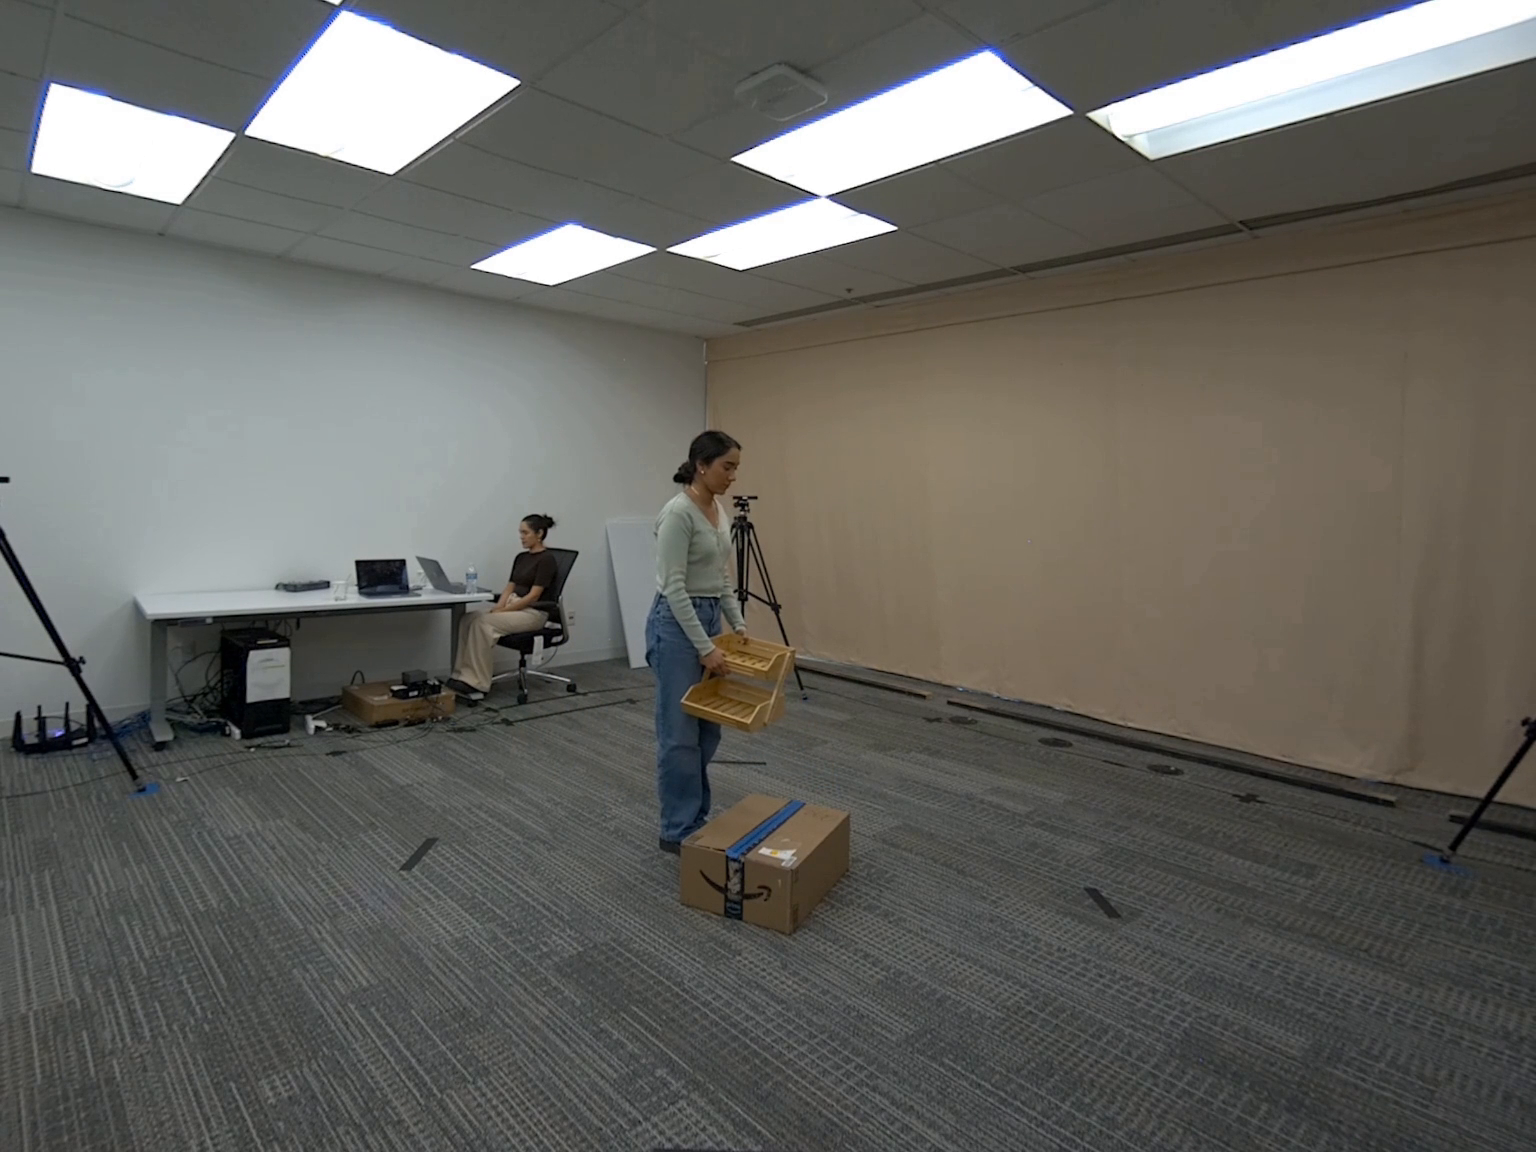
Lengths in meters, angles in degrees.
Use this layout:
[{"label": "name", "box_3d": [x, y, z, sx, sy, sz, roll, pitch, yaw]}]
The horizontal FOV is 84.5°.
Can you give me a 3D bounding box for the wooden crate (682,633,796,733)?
[{"label": "wooden crate", "box_3d": [-0.110, 0.391, 3.129, 0.332, 0.272, 0.297, 10, 10, 29]}]
